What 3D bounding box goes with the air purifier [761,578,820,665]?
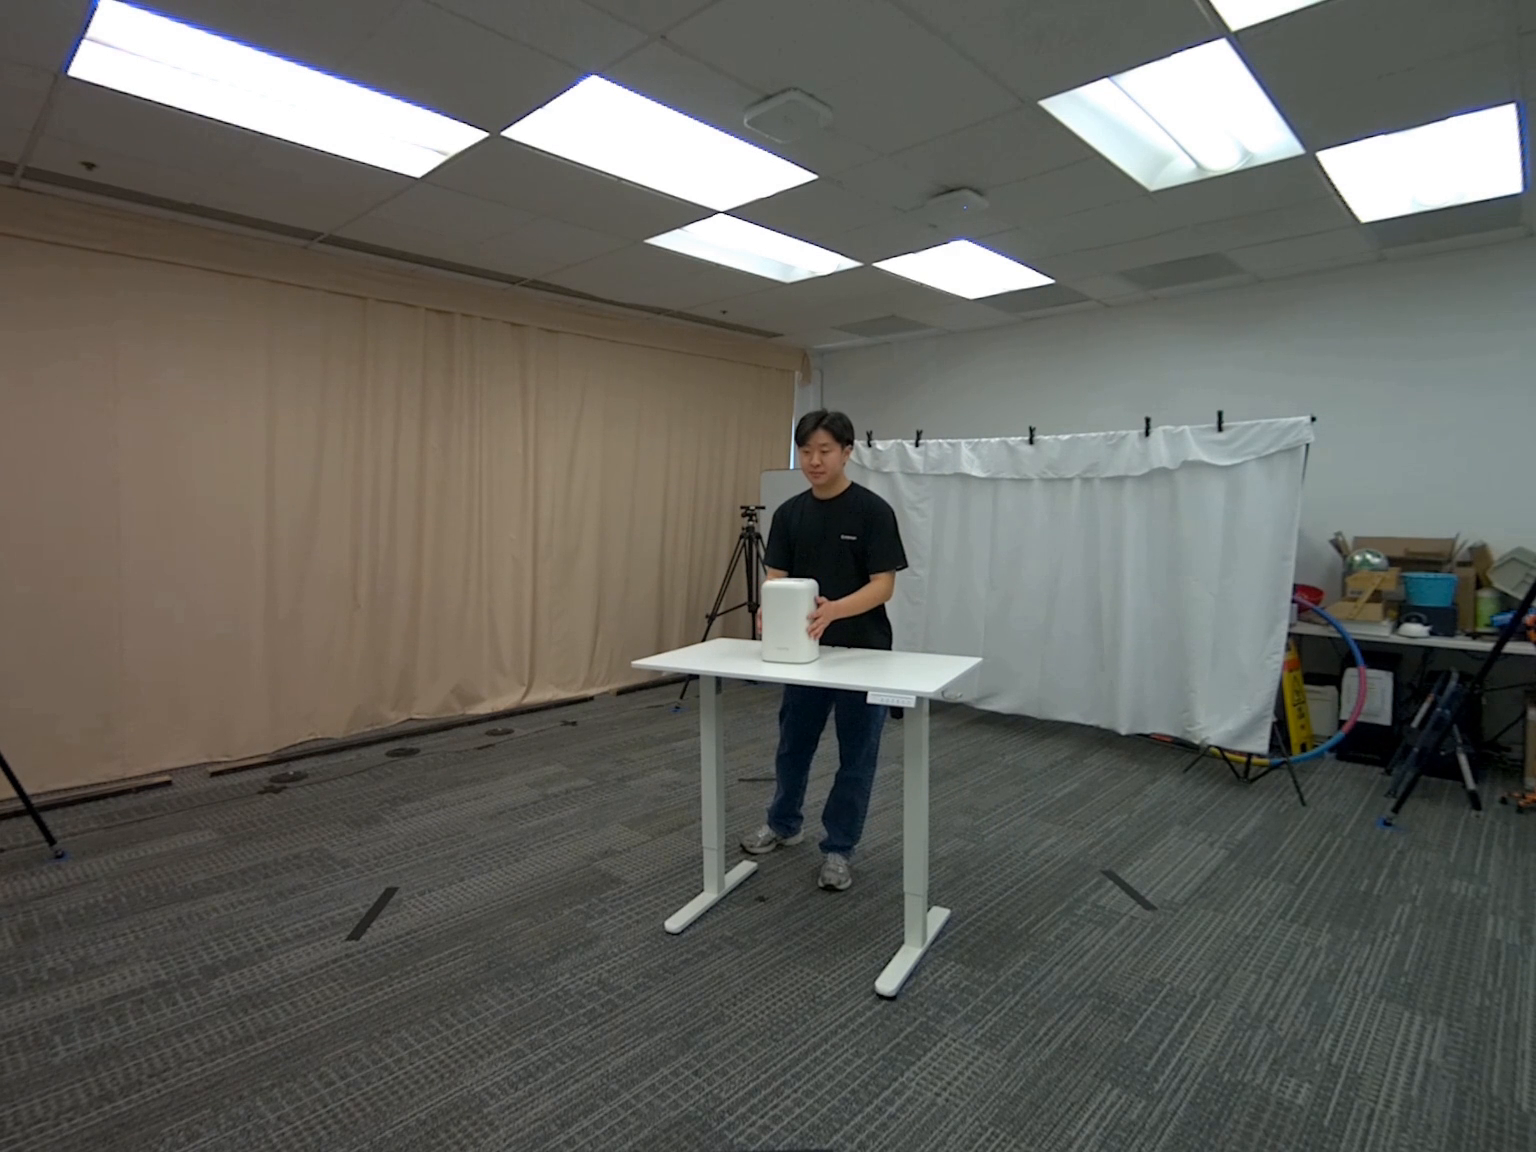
[{"bbox_3d":[0.072,0.144,2.790,0.175,0.265,0.168,1,3,21],"label":"air purifier"}]
